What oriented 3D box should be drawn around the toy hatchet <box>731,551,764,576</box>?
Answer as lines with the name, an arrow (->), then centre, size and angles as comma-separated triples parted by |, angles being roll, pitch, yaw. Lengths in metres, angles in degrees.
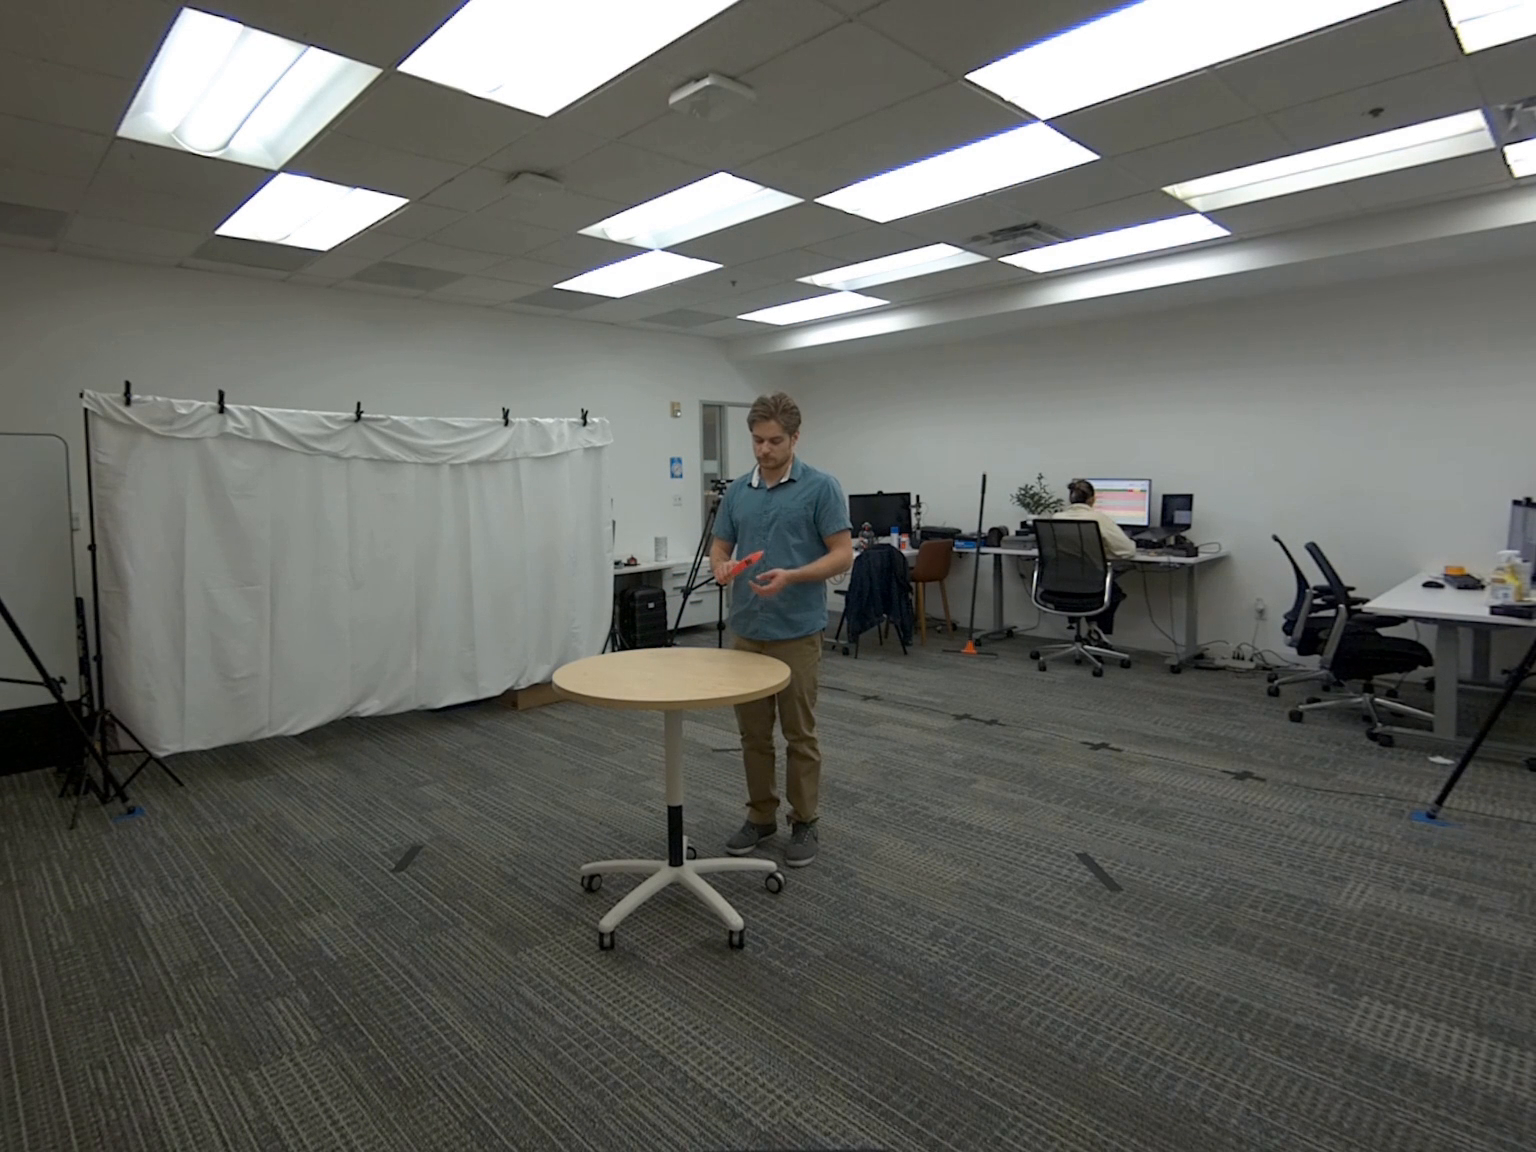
toy hatchet -> -0.108, -0.012, 2.897 | 0.130, 0.030, 0.271 | -35, -2, -30
